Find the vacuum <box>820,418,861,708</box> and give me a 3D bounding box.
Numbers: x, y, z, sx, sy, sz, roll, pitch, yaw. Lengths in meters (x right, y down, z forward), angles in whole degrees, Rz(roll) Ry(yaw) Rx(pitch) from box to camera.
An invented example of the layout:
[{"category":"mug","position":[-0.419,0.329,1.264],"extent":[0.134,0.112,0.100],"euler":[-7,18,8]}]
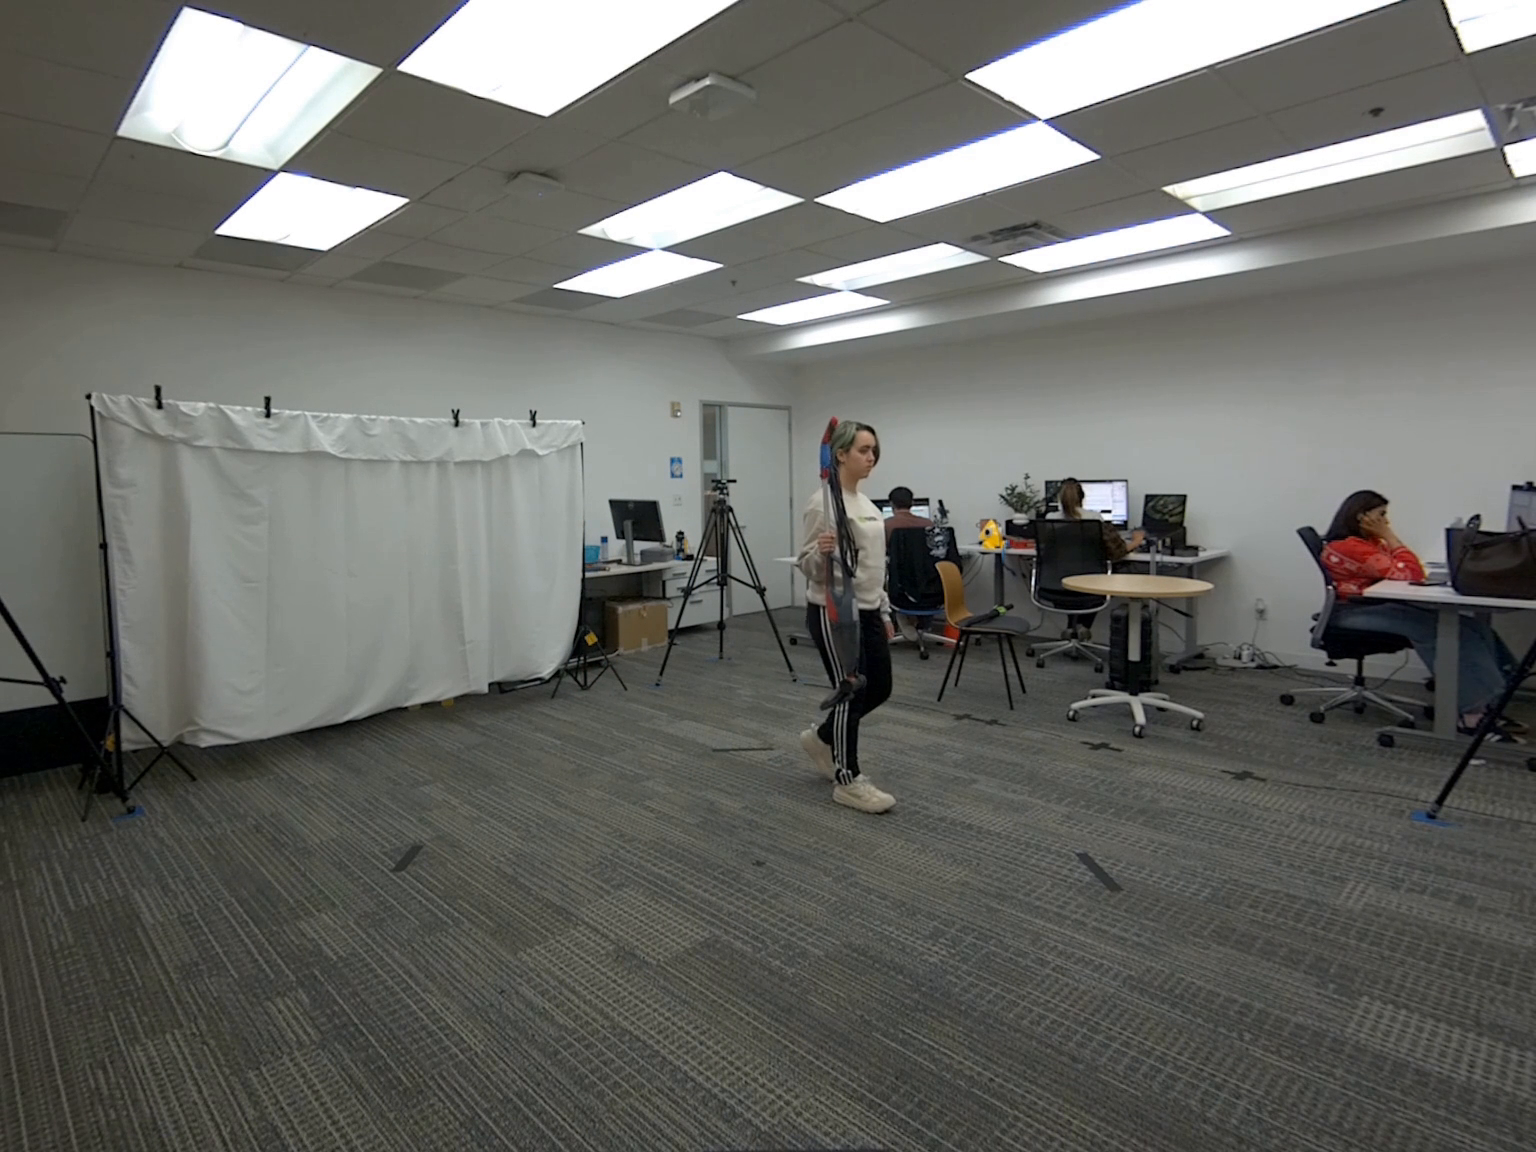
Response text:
[{"category":"vacuum","position":[0.268,-0.080,3.275],"extent":[0.146,1.050,0.248],"euler":[-2,-1,18]}]
